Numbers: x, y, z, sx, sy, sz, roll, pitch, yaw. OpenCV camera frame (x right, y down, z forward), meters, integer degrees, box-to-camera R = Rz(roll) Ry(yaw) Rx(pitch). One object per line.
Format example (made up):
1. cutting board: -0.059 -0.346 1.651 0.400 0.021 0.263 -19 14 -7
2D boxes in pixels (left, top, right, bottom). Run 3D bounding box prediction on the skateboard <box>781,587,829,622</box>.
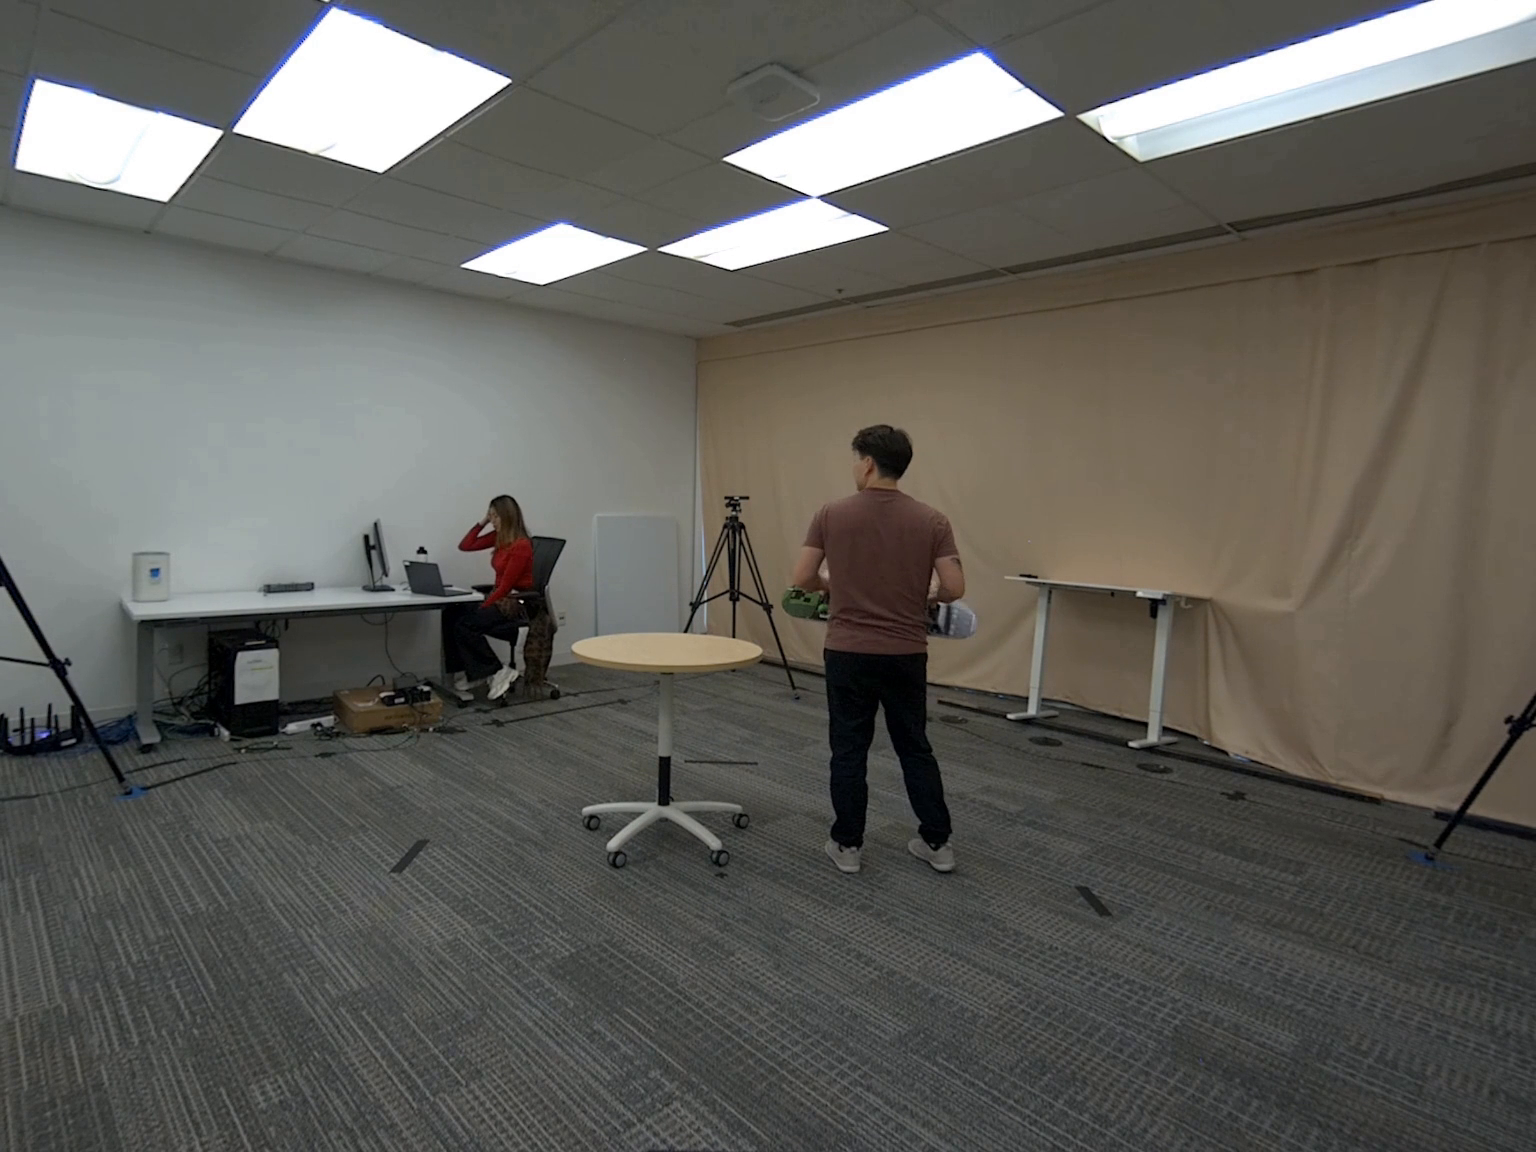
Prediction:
1. skateboard: 0.444 0.105 3.394 0.792 0.108 0.196 6 47 10
